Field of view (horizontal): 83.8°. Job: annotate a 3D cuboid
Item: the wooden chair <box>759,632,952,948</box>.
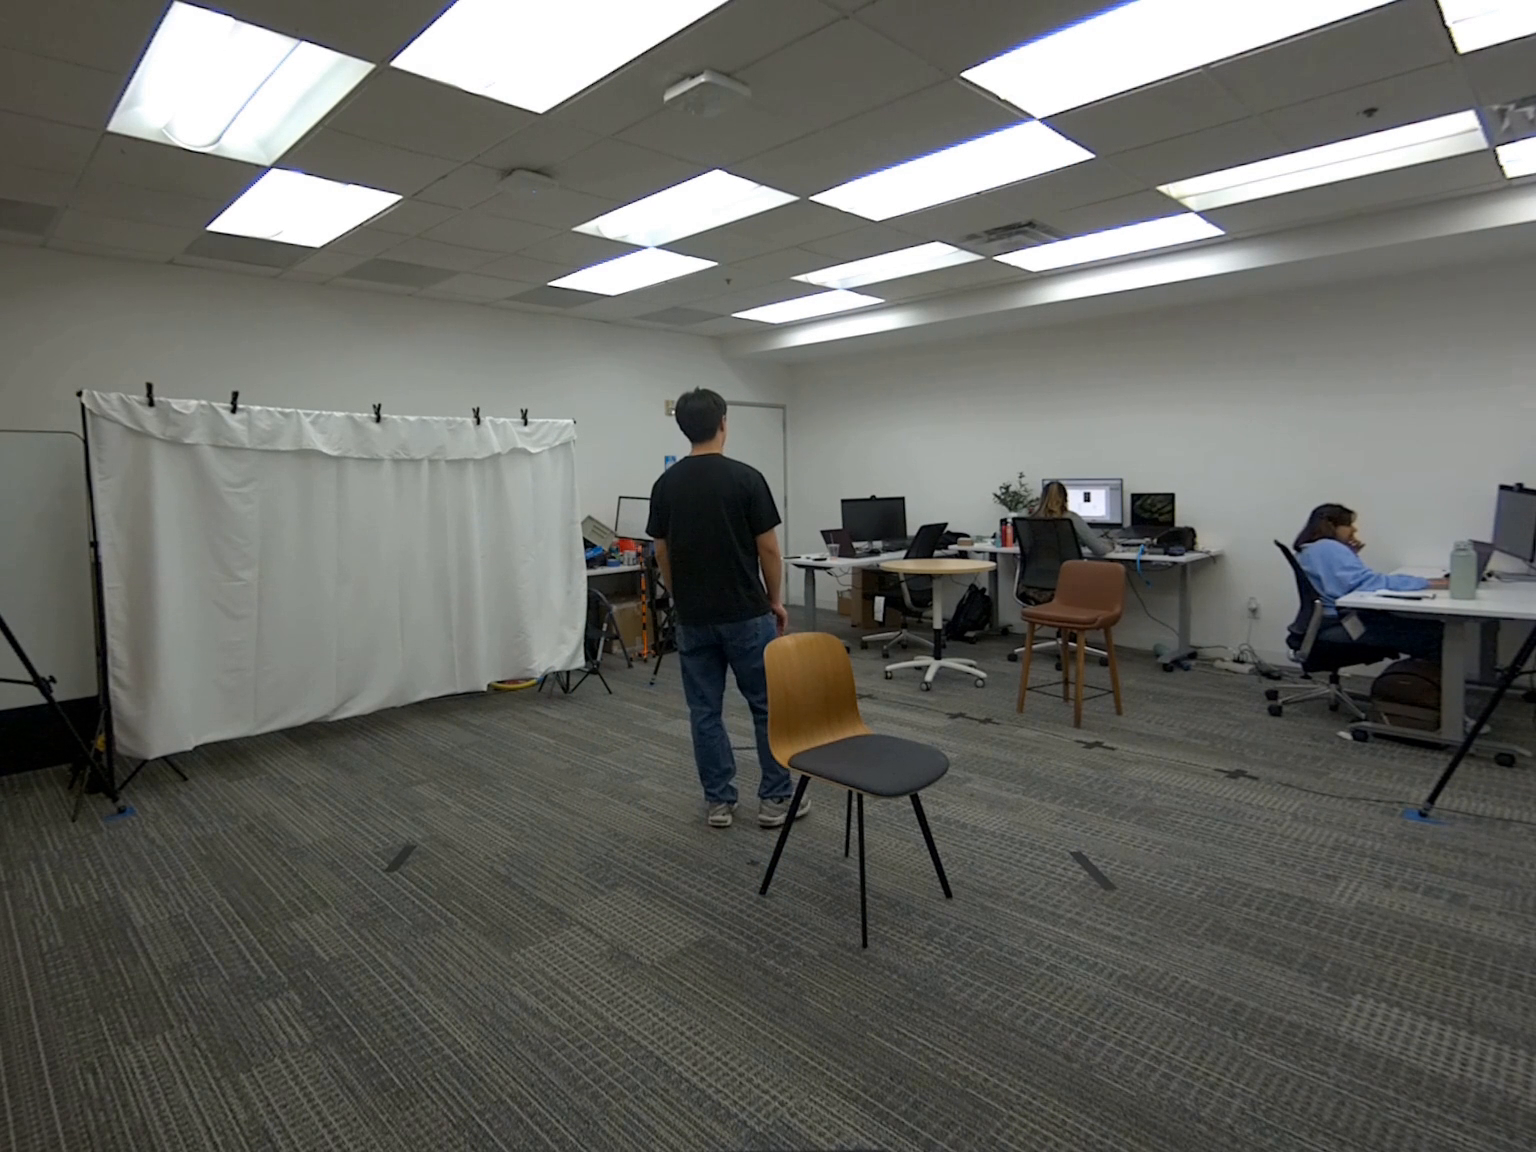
[{"bbox_3d":[0.293,0.643,2.806,0.465,0.877,0.538,-5,2,-42],"label":"wooden chair"}]
